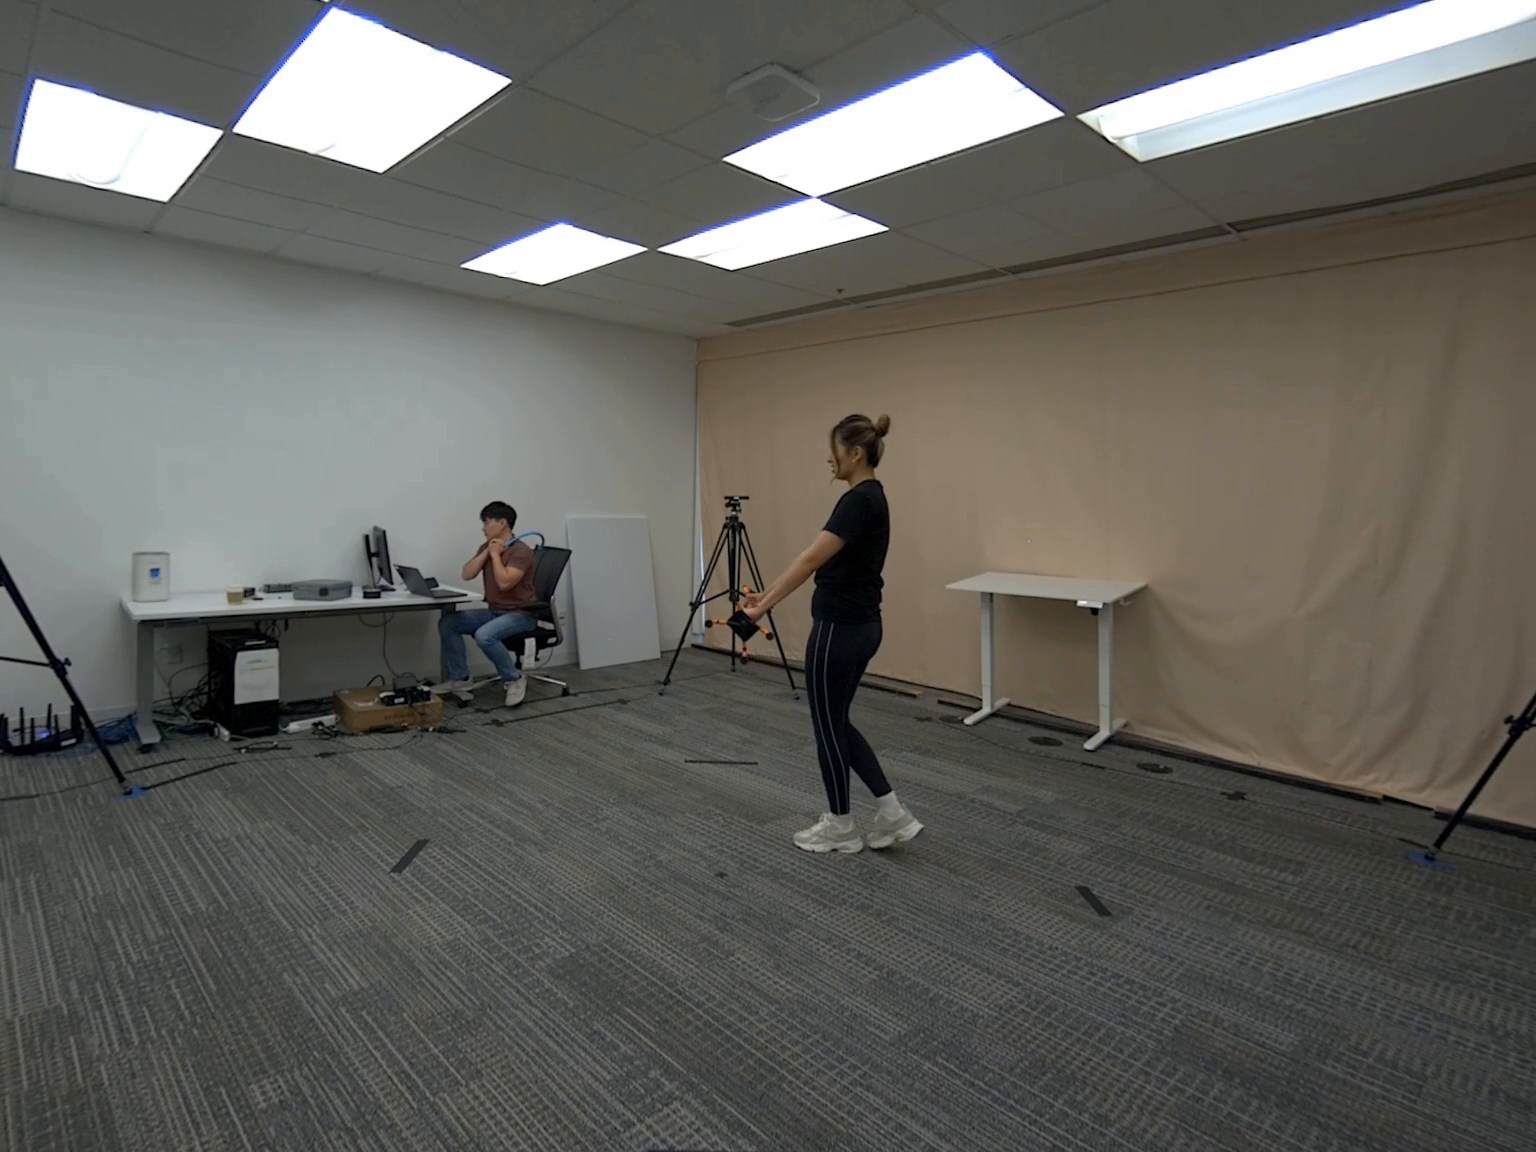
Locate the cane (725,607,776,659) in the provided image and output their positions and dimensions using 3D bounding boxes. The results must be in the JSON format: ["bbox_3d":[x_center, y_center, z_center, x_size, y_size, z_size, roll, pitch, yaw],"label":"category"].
[{"bbox_3d":[-0.075,0.147,3.348,0.151,0.206,0.908,-43,2,5],"label":"cane"}]
